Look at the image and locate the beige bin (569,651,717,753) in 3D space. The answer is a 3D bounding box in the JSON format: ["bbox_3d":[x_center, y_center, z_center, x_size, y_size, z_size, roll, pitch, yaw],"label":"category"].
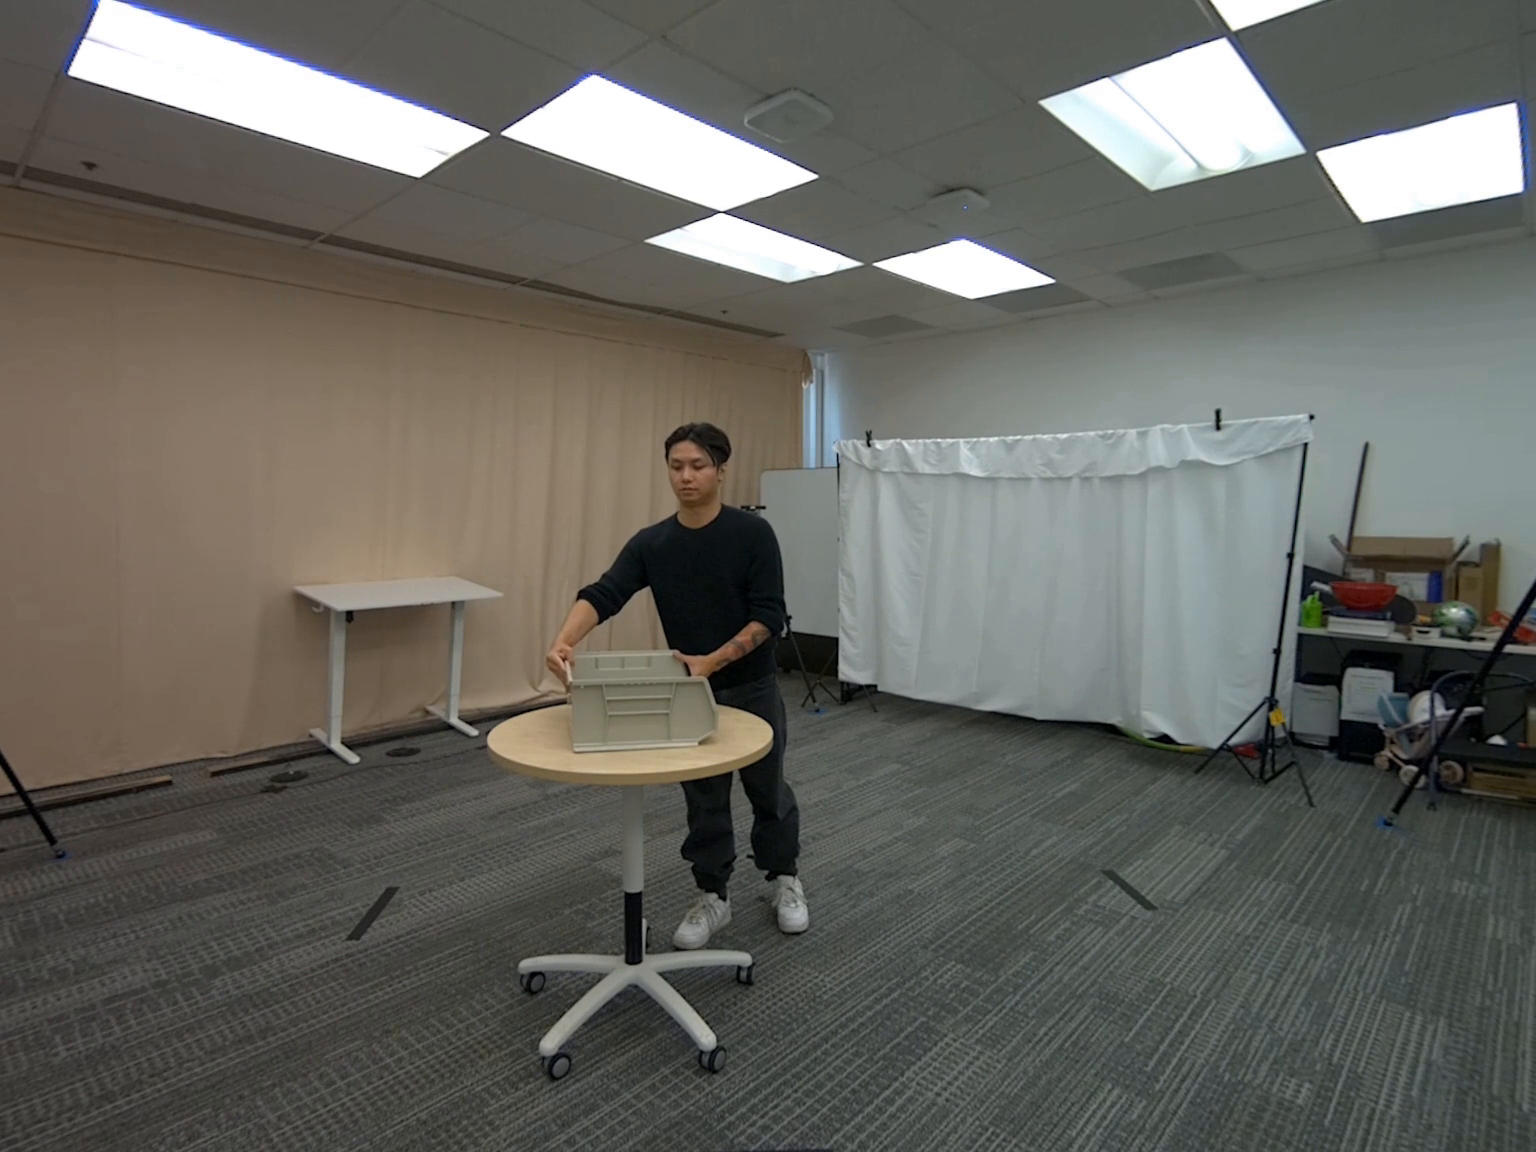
[{"bbox_3d":[-0.378,0.333,2.290,0.373,0.188,0.428,0,4,-10],"label":"beige bin"}]
